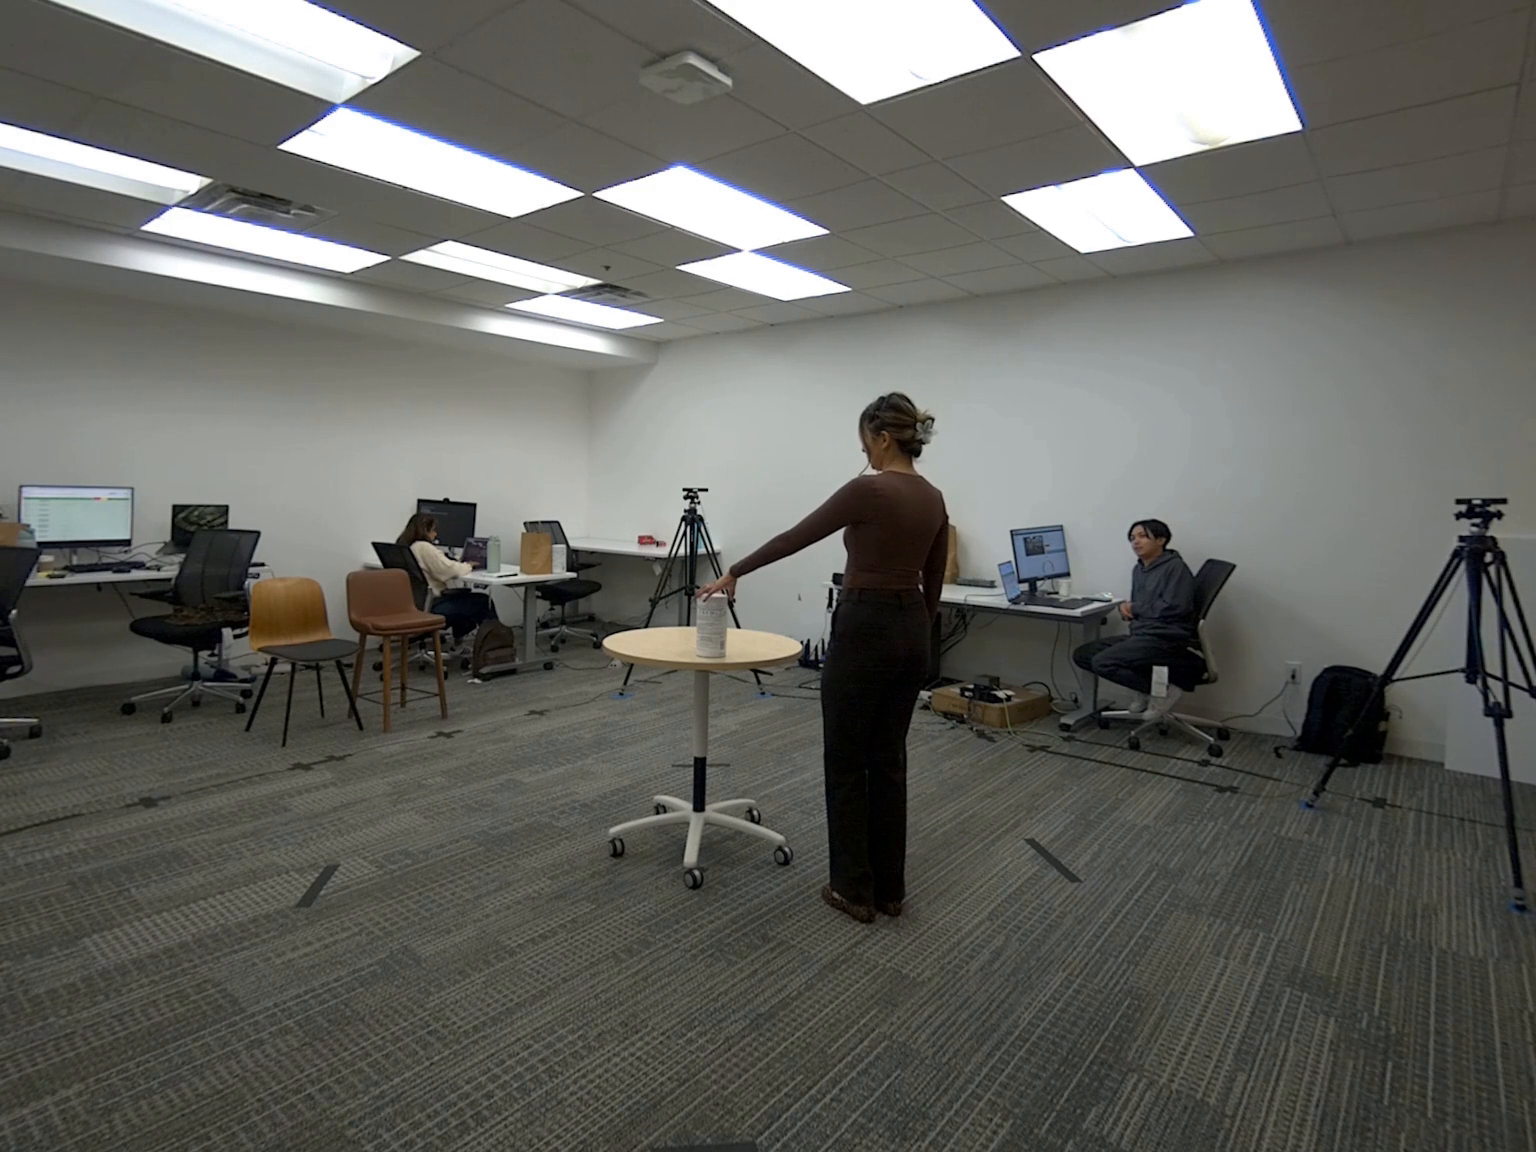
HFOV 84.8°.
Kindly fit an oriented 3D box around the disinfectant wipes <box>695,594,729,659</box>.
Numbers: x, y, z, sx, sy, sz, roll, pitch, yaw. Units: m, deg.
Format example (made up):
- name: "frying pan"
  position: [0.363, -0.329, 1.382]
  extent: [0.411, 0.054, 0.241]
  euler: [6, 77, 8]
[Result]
- name: "disinfectant wipes"
  position: [-0.211, 0.176, 3.025]
  extent: [0.117, 0.217, 0.118]
  euler: [1, 3, -2]
